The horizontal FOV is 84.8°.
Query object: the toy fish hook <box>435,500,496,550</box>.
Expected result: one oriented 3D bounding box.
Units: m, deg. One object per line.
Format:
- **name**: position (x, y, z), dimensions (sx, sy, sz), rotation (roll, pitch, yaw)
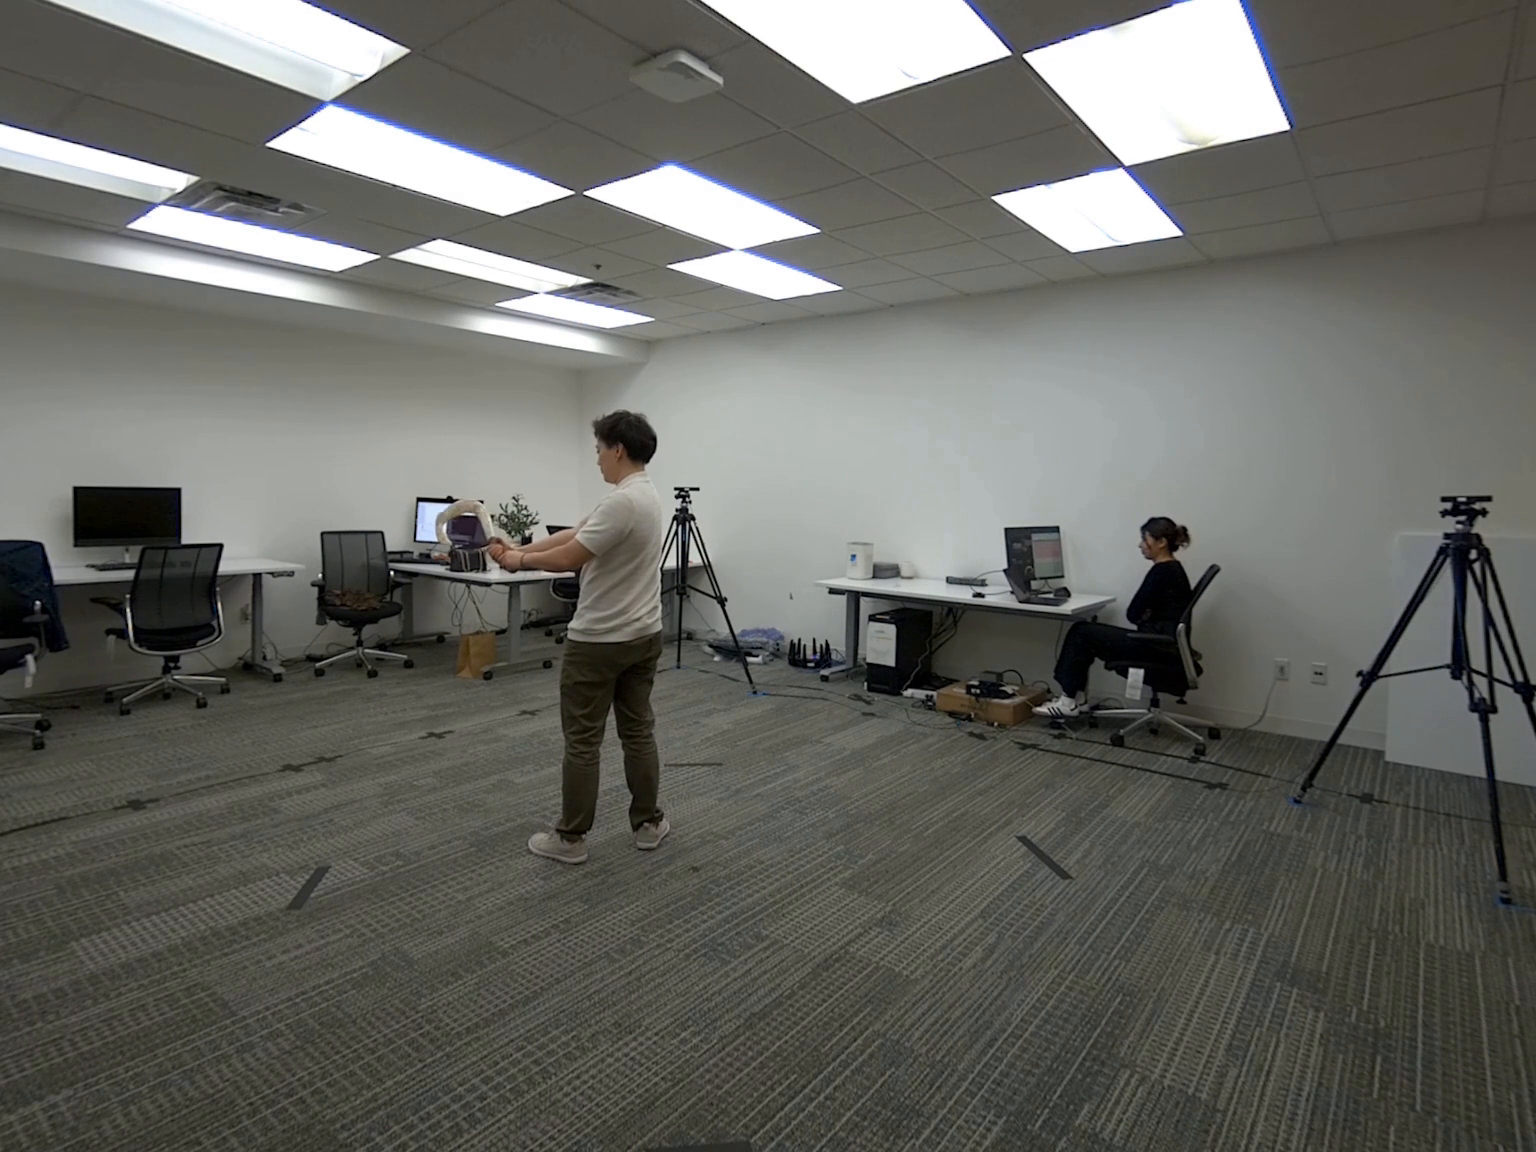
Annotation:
- **toy fish hook**: position (-1.144, -0.139, 3.312), dimensions (0.223, 0.046, 0.528), rotation (-37, 53, -16)
